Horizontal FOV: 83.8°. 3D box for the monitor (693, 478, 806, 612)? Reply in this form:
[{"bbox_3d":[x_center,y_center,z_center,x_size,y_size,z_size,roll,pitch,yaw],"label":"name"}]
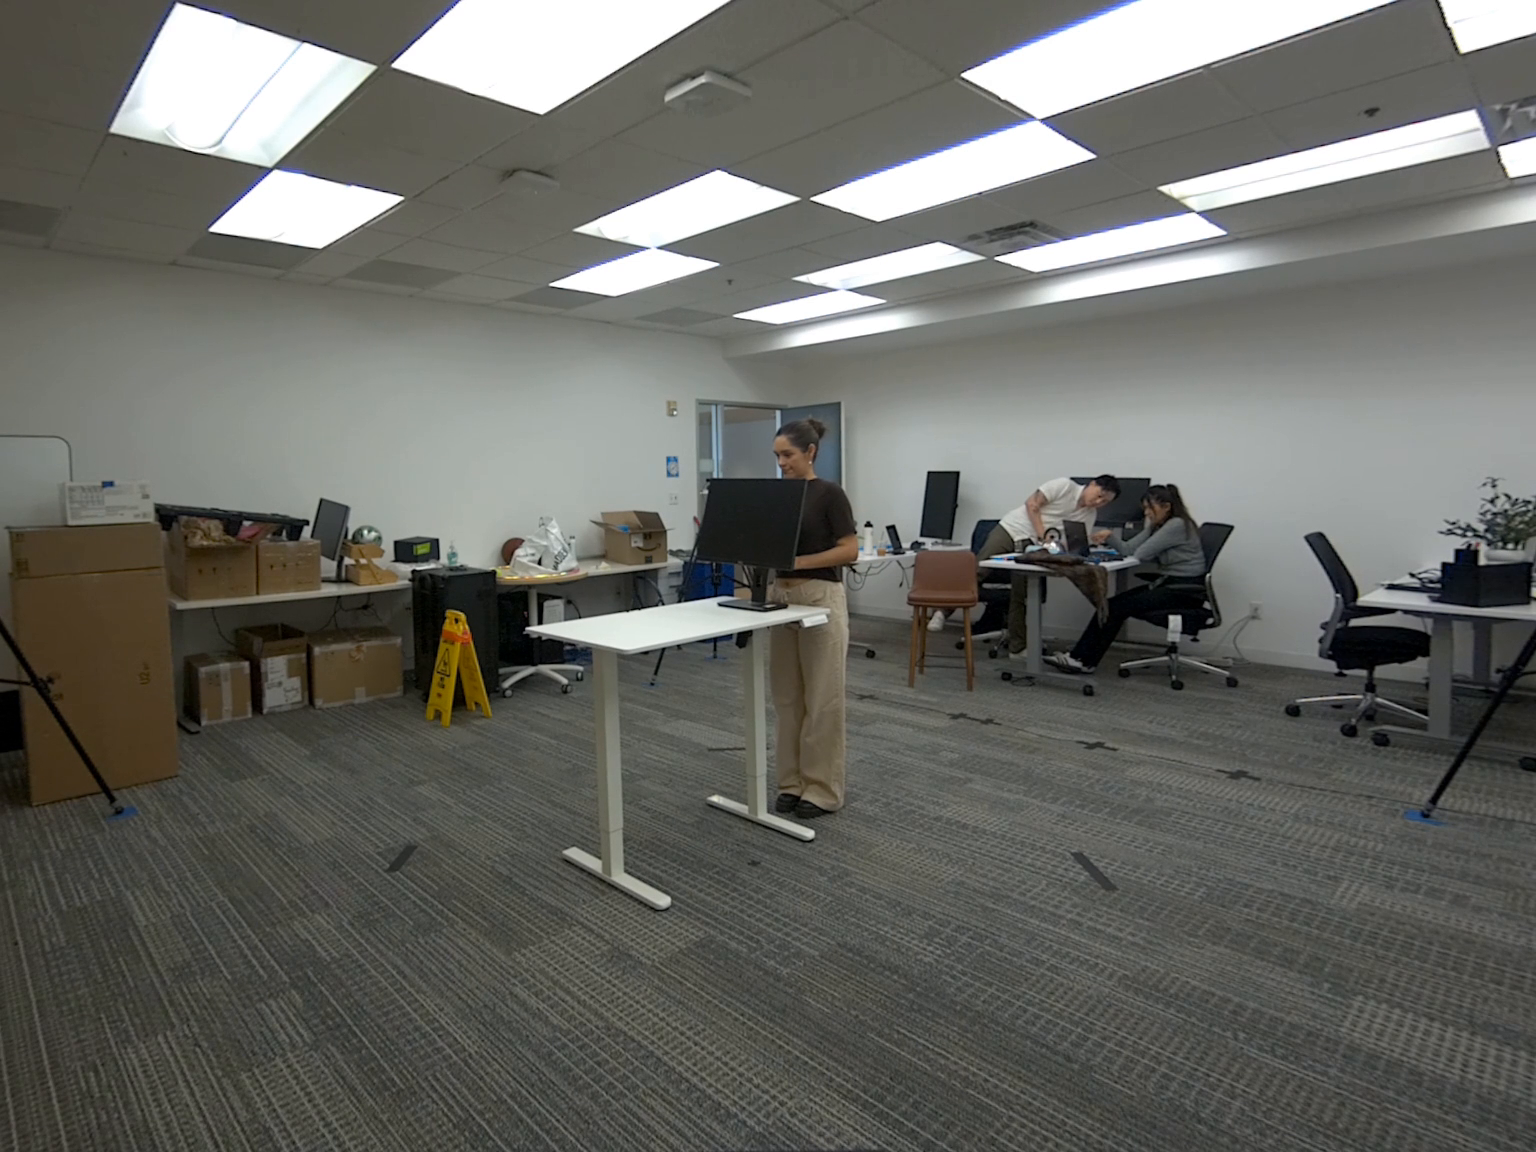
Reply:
[{"bbox_3d":[-0.060,-0.133,3.419,0.547,0.512,0.170,7,10,43],"label":"monitor"}]
